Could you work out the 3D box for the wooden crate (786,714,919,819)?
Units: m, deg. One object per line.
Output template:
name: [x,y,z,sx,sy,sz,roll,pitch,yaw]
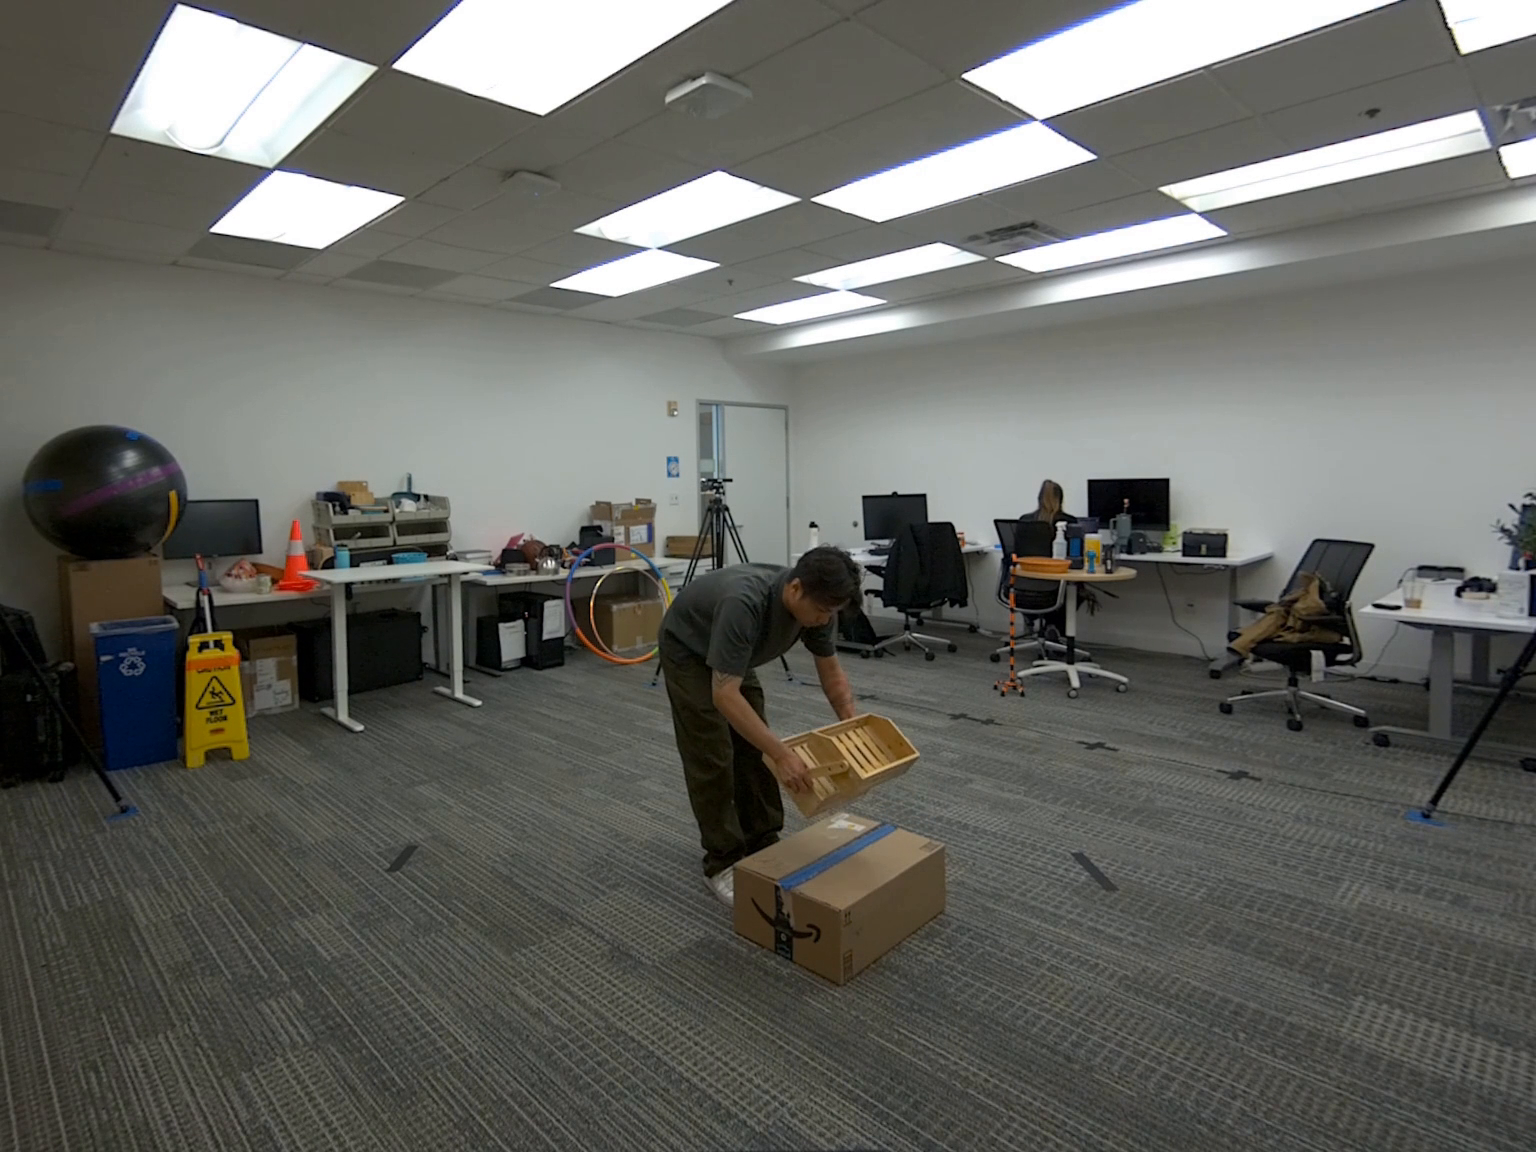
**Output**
wooden crate: [0.228,0.548,2.629,0.316,0.271,0.313,-4,44,-46]
